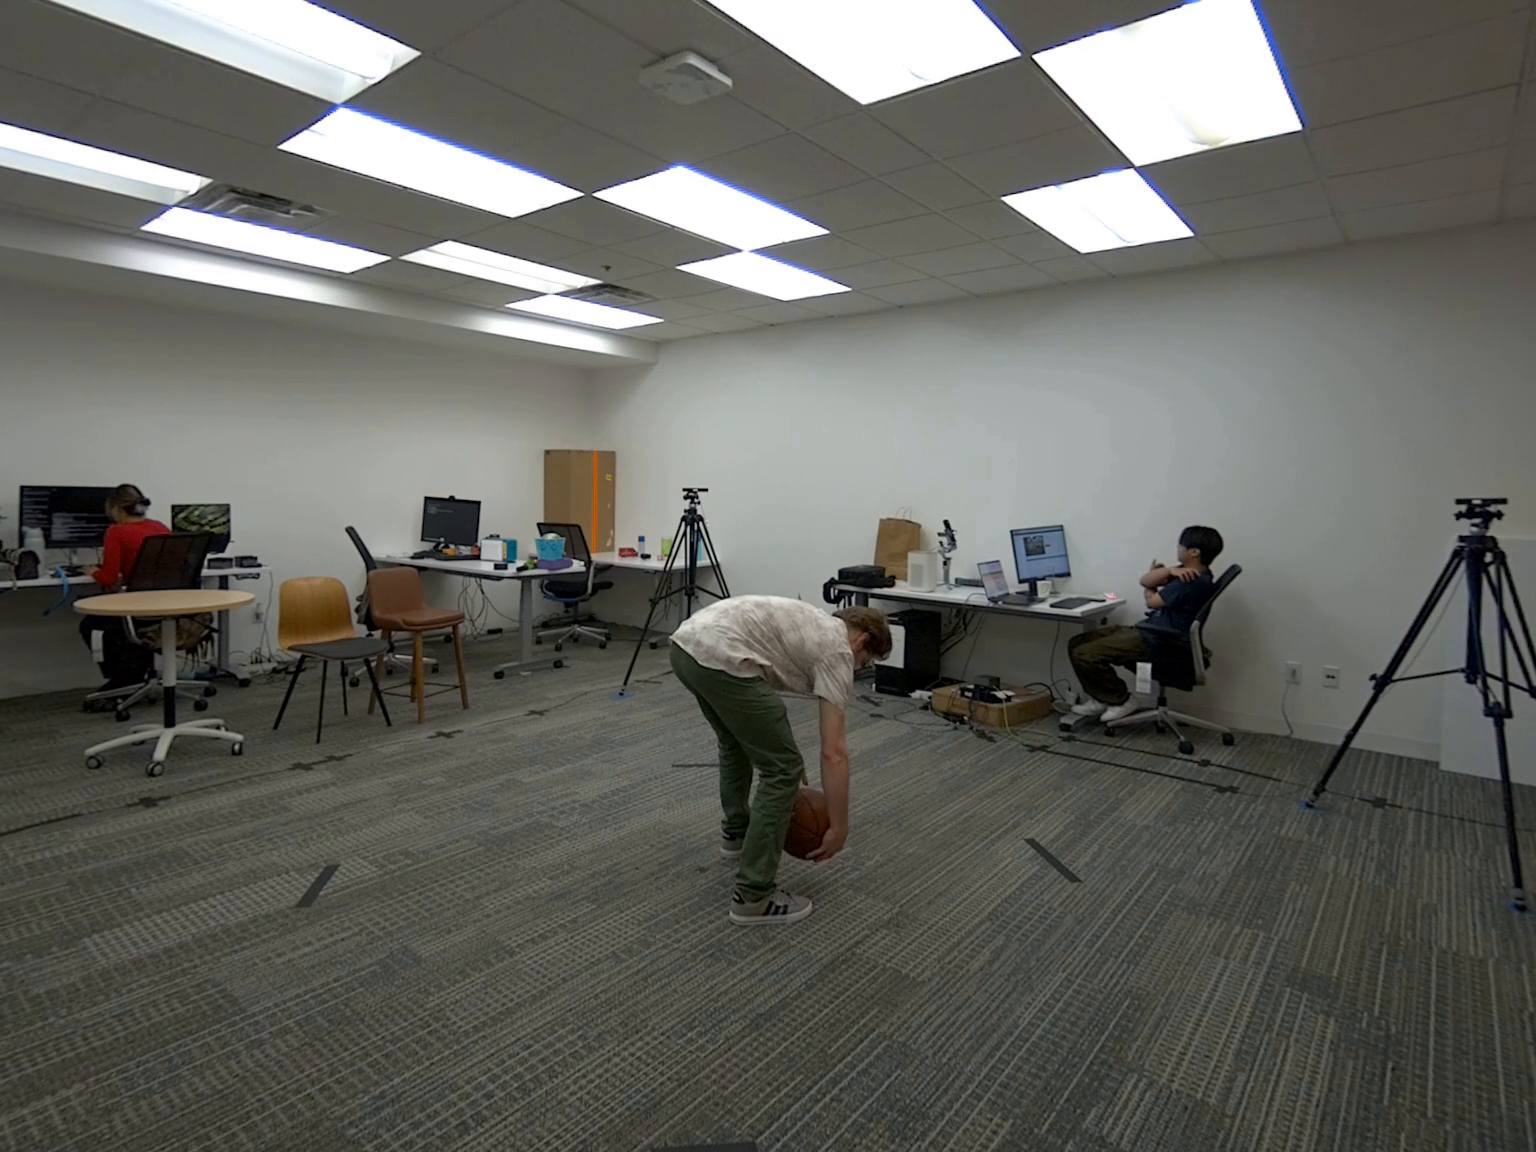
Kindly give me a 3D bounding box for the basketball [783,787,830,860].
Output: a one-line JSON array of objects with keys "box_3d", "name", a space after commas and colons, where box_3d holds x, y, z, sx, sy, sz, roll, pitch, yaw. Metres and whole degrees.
[{"box_3d": [0.134, 0.870, 2.999, 0.235, 0.235, 0.237, 1, 4, -2], "name": "basketball"}]
